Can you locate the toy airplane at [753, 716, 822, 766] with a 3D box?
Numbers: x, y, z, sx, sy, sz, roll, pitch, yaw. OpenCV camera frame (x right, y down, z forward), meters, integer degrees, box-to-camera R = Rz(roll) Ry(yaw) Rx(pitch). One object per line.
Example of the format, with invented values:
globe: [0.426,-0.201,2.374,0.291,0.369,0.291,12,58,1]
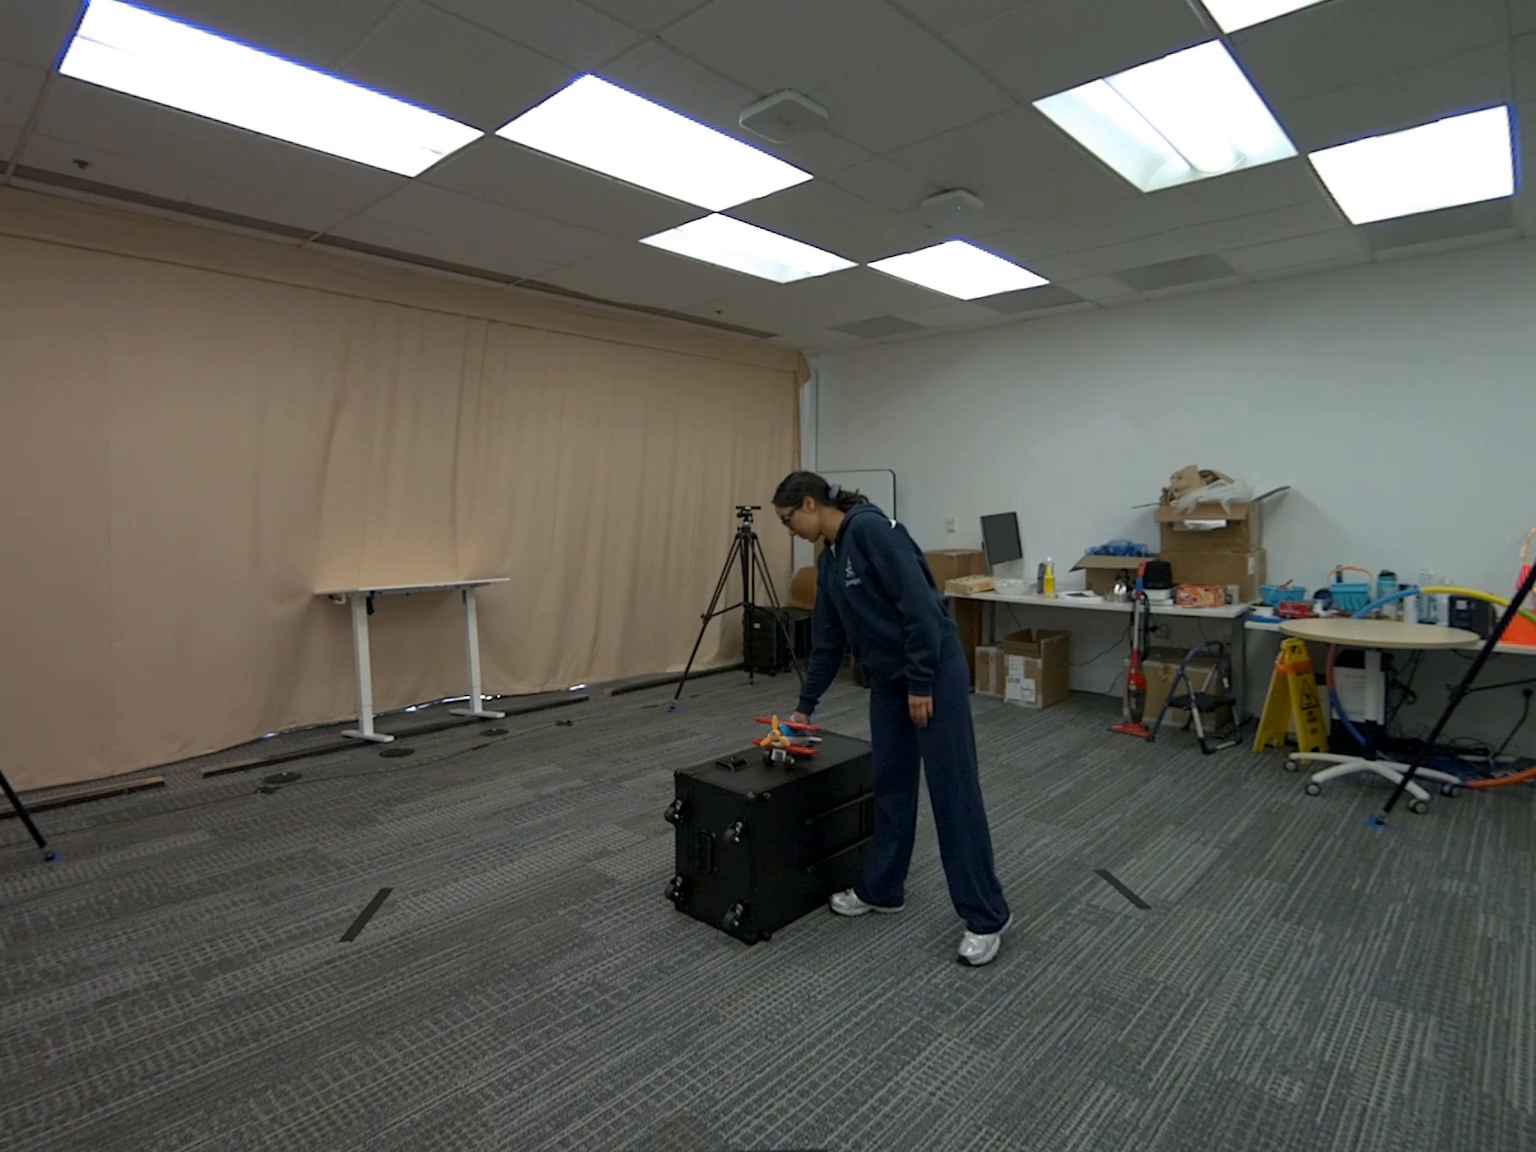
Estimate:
toy airplane: [0.084,0.578,3.010,0.253,0.156,0.258,0,5,5]
